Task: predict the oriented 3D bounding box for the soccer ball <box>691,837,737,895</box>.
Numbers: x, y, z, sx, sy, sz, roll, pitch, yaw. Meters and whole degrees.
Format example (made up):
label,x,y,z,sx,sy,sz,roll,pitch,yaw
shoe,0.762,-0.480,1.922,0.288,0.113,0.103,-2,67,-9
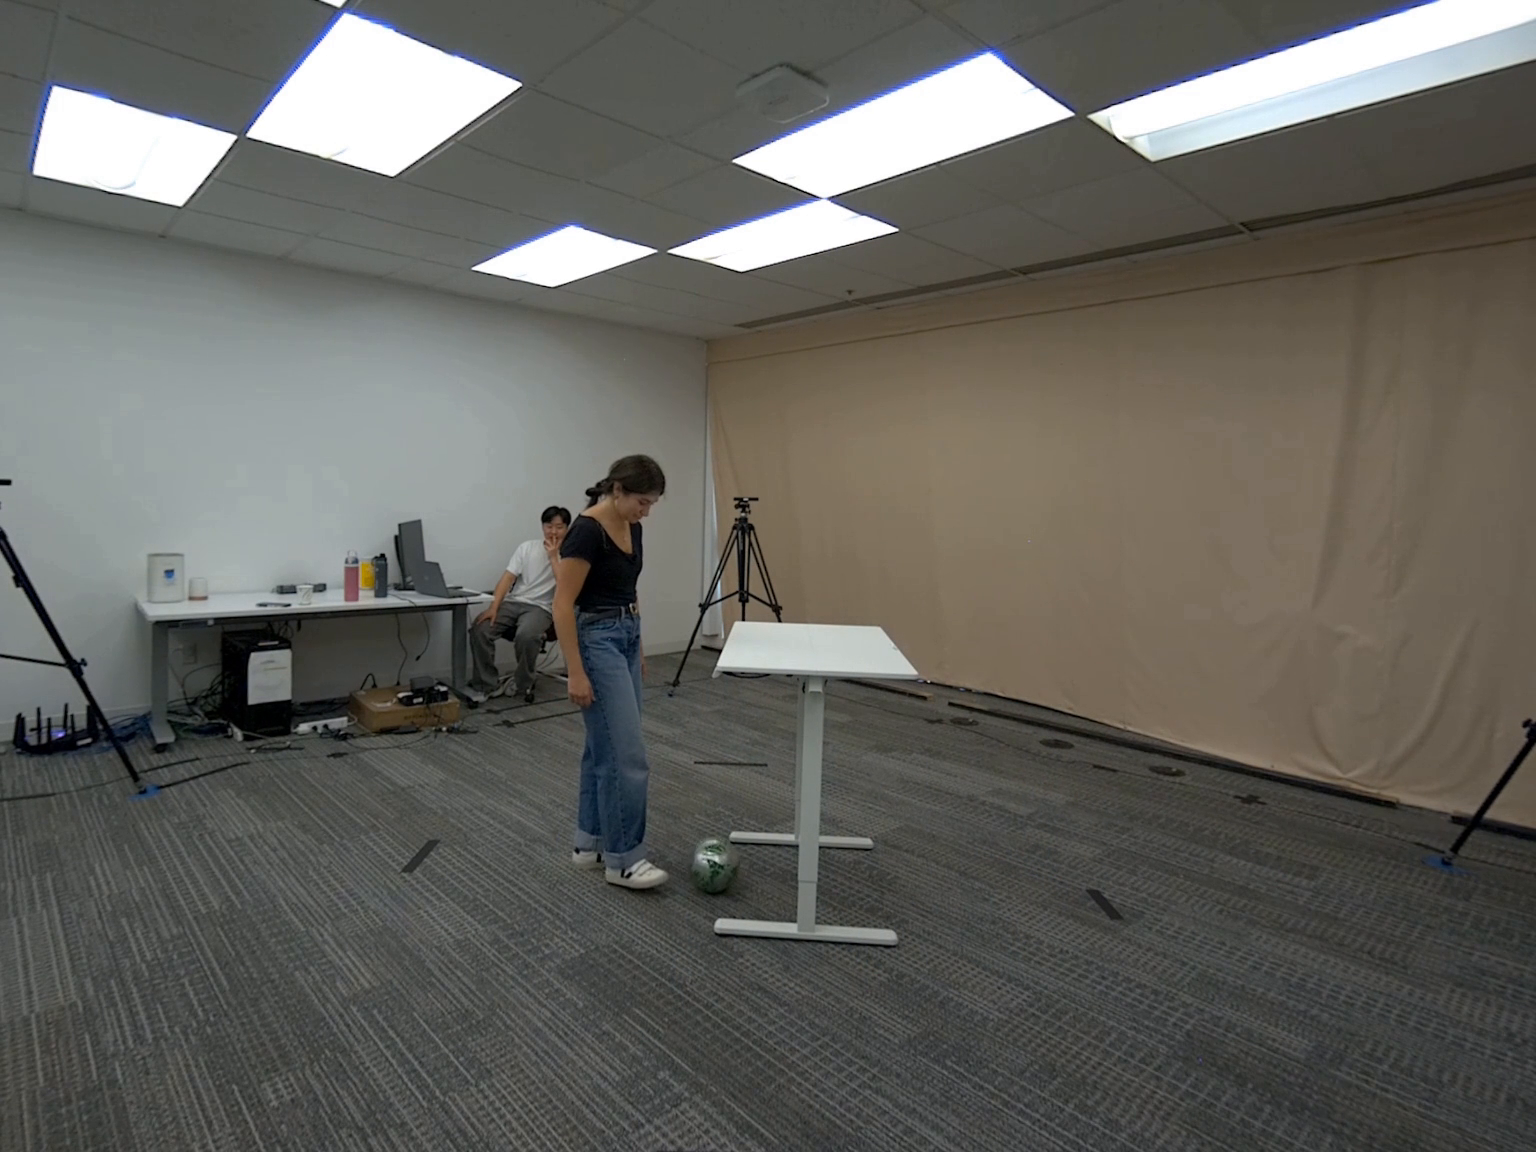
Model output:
label,x,y,z,sx,sy,sz,roll,pitch,yaw
soccer ball,-0.202,1.034,2.974,0.187,0.187,0.188,1,4,-1
